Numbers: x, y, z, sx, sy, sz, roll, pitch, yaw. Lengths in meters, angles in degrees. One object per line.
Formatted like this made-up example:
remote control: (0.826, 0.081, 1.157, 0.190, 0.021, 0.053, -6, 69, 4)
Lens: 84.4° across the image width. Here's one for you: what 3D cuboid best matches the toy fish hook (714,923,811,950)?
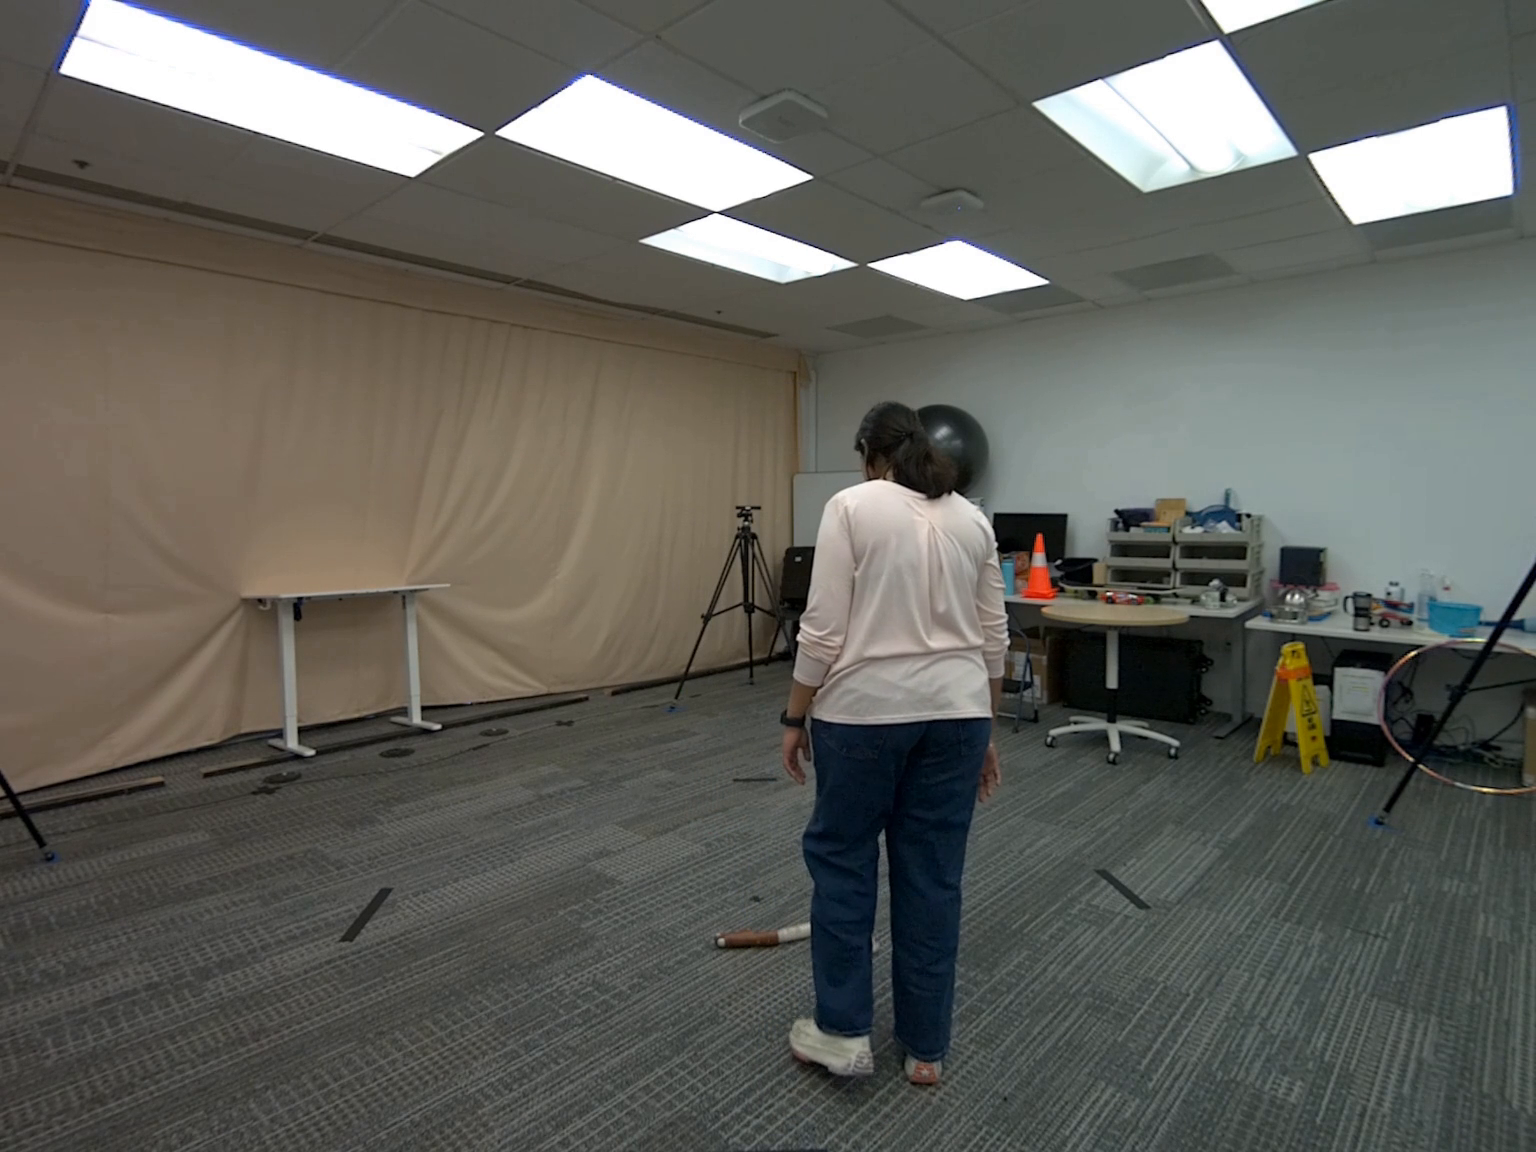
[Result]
toy fish hook: (0.091, 1.150, 2.637, 0.501, 0.048, 0.227, -1, 4, -10)
